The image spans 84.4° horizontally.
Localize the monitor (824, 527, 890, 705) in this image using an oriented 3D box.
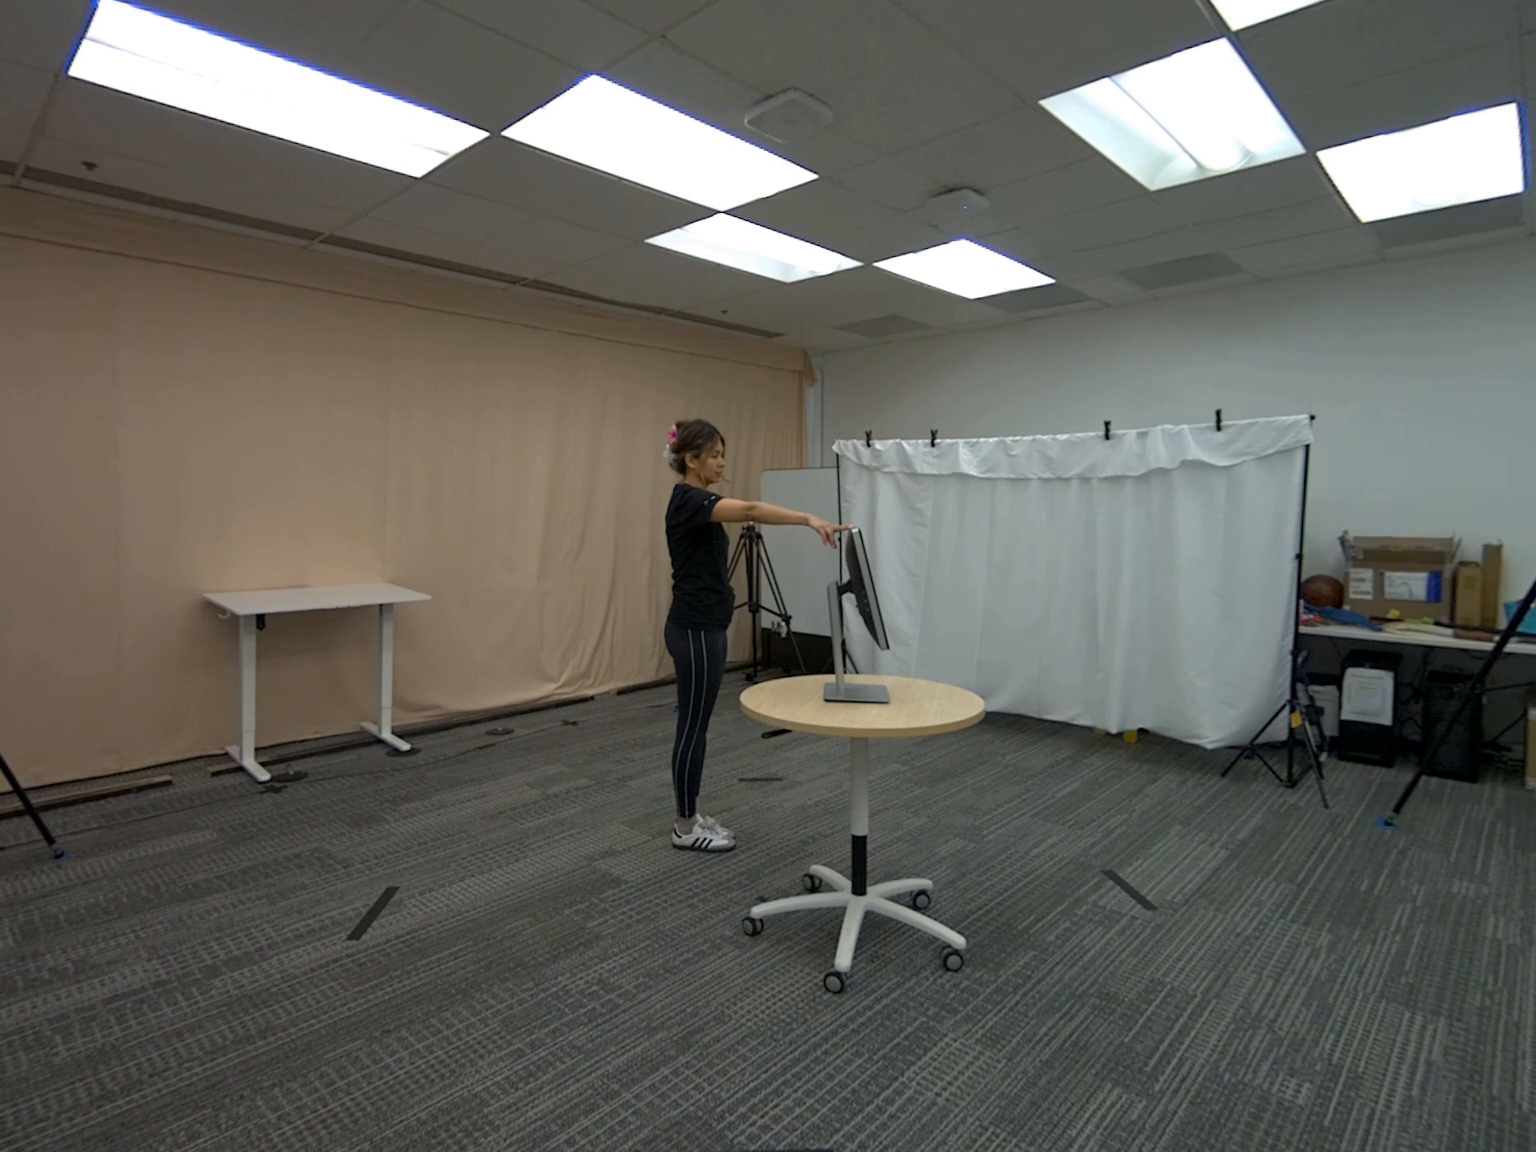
[{"bbox_3d":[0.284,0.123,2.723,0.188,0.522,0.537,0,3,3],"label":"monitor"}]
